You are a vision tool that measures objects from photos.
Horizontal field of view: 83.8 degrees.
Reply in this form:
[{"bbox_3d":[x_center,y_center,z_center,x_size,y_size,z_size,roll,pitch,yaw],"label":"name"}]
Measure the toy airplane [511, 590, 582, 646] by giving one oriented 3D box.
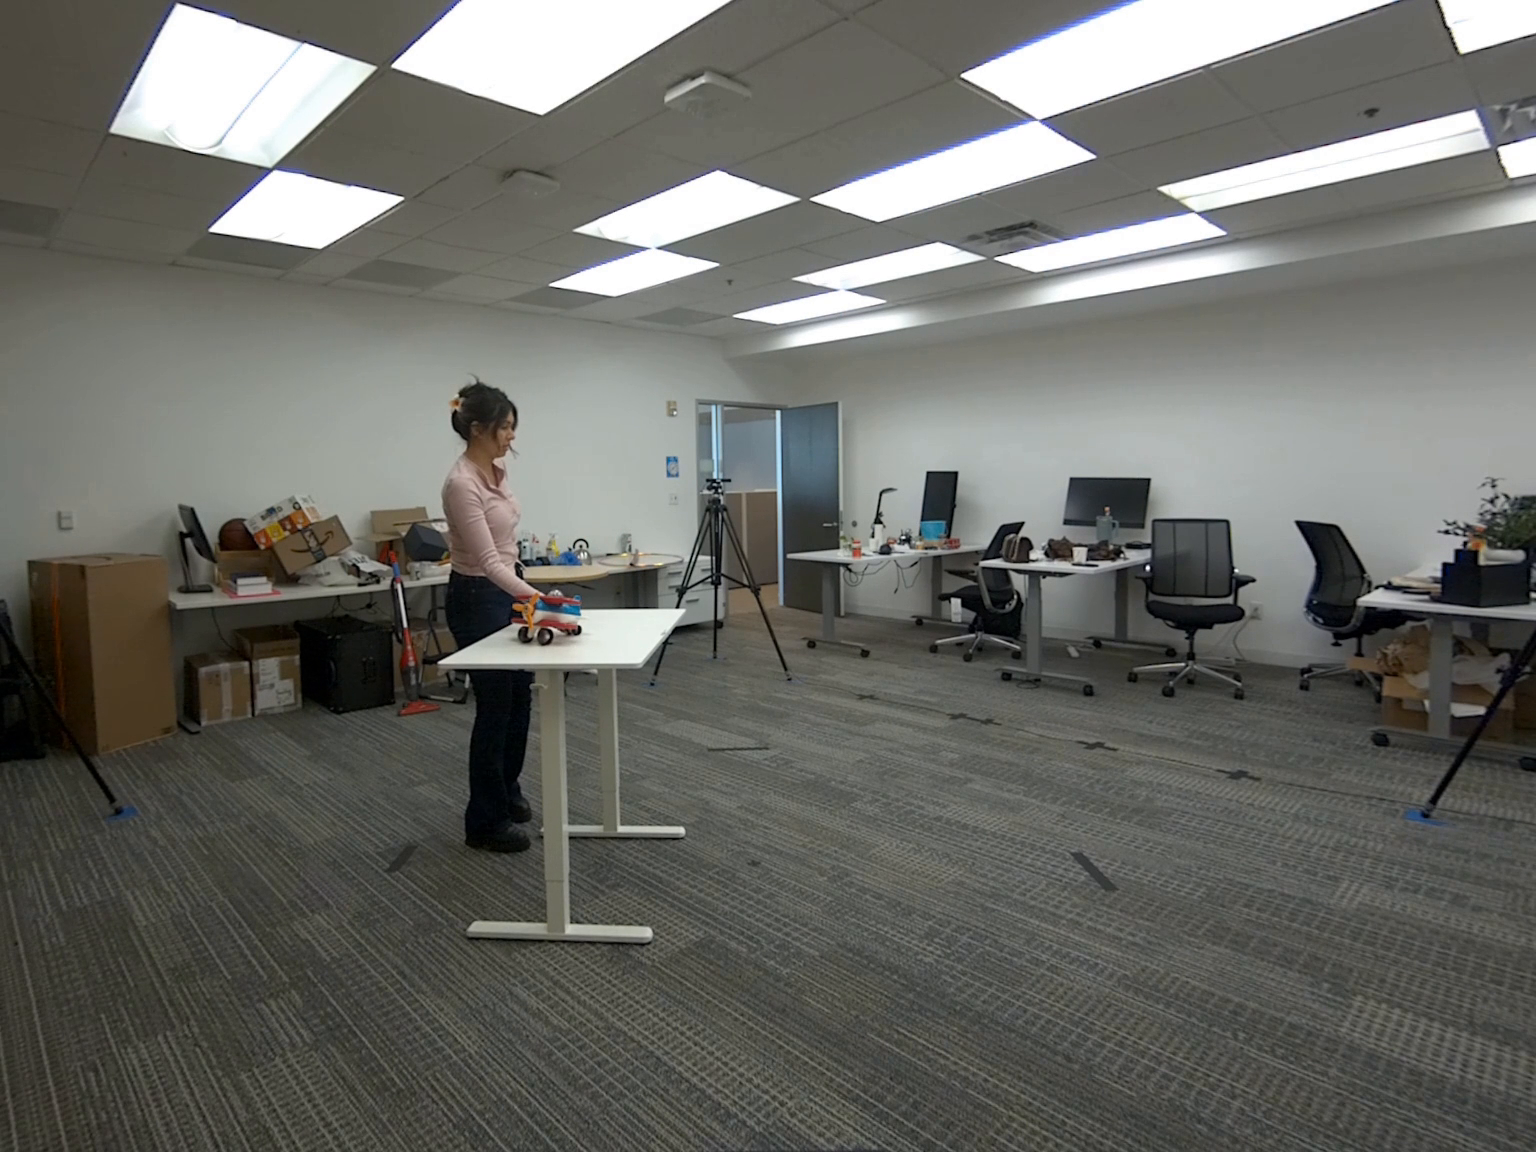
[{"bbox_3d":[-0.723,0.134,2.819,0.252,0.156,0.260,-1,6,2],"label":"toy airplane"}]
